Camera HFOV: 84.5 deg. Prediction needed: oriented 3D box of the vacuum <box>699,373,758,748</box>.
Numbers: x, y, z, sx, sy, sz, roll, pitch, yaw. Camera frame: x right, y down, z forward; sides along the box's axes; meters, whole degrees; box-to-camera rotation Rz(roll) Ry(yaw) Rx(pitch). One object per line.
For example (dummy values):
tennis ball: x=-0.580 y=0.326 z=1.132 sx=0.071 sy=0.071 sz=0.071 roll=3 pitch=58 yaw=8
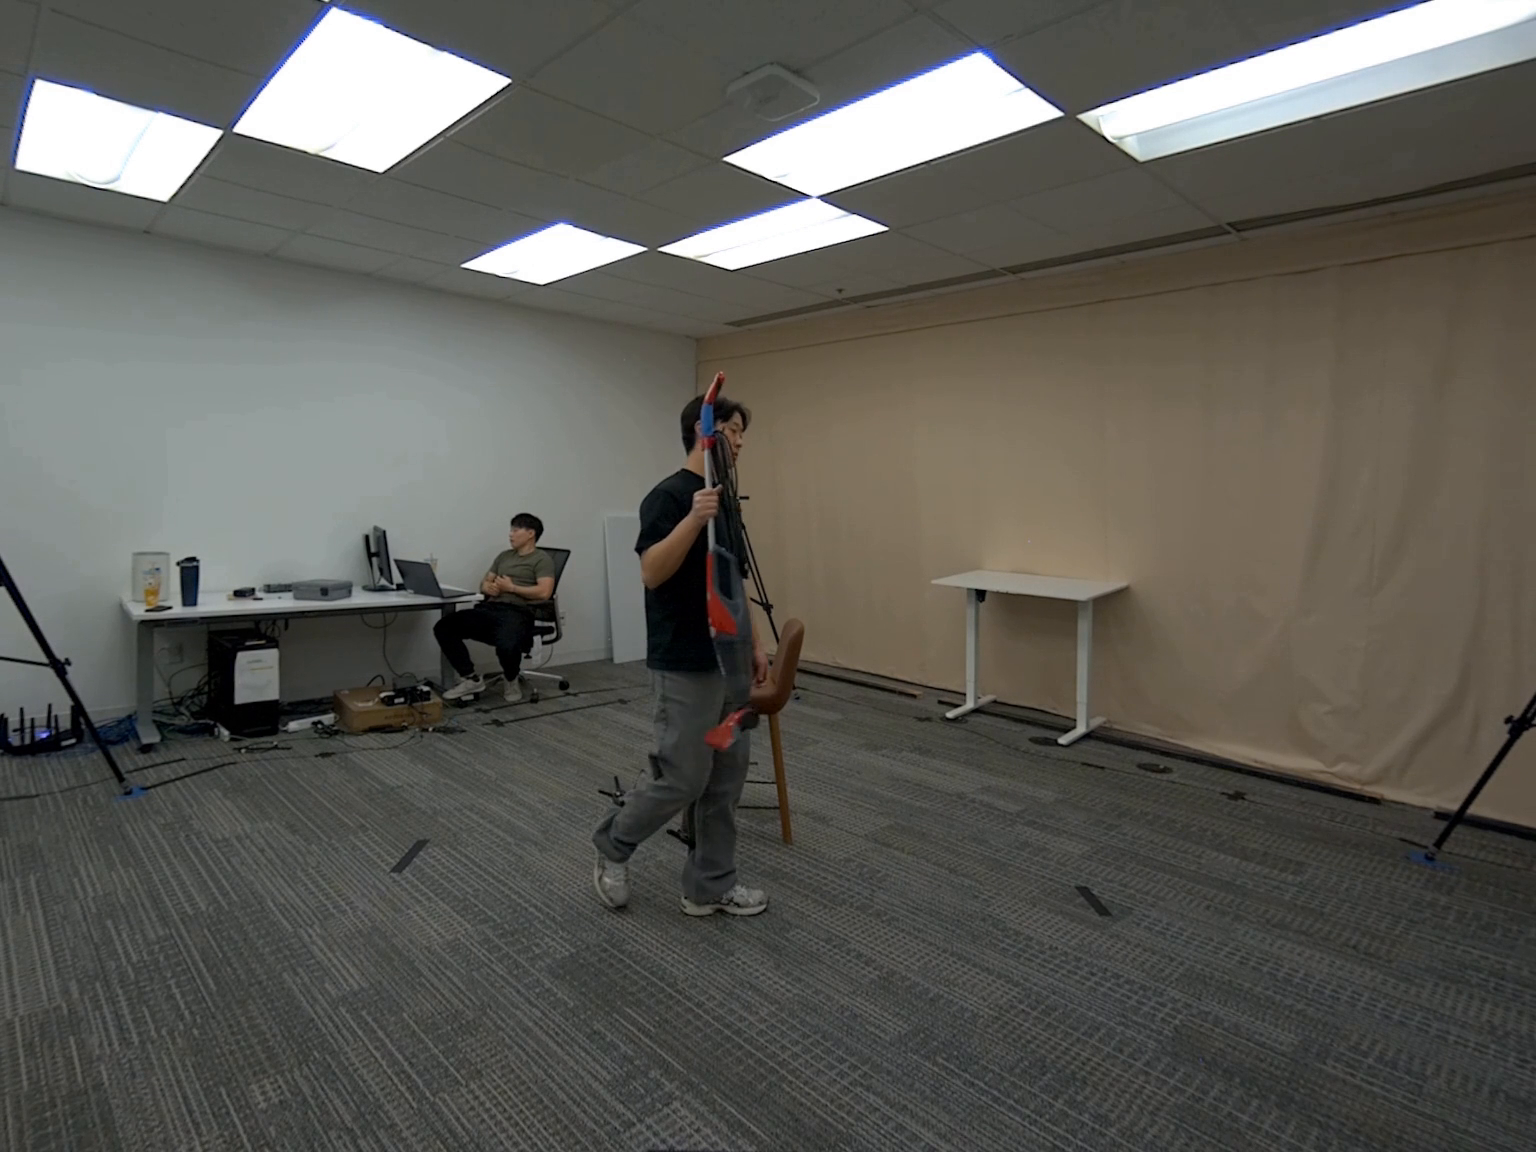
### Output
vacuum: x=-0.124 y=-0.078 z=2.455 sx=0.143 sy=1.054 sz=0.252 roll=0 pitch=-6 yaw=-6
